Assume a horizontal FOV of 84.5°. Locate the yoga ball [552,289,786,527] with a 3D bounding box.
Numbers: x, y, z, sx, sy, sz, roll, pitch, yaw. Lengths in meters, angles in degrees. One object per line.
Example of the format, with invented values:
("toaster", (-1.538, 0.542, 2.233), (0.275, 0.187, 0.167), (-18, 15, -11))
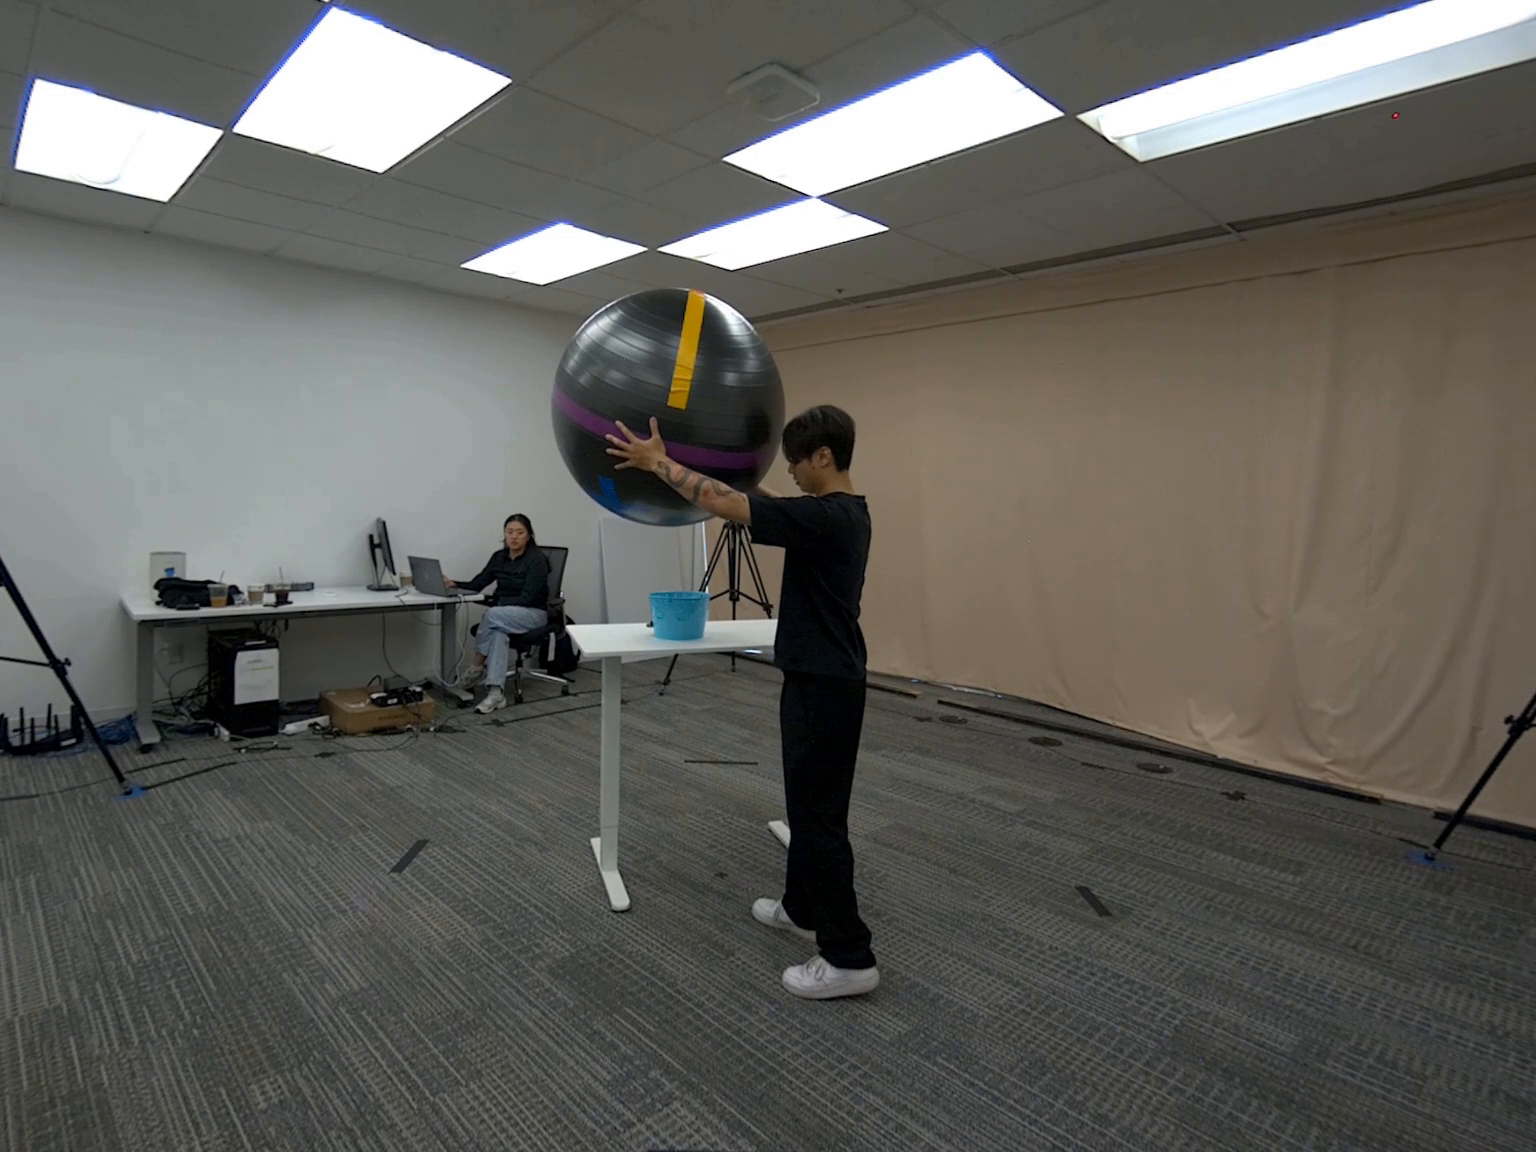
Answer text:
("yoga ball", (-0.329, -0.536, 2.745), (0.757, 0.756, 0.761), (1, 4, -1))
